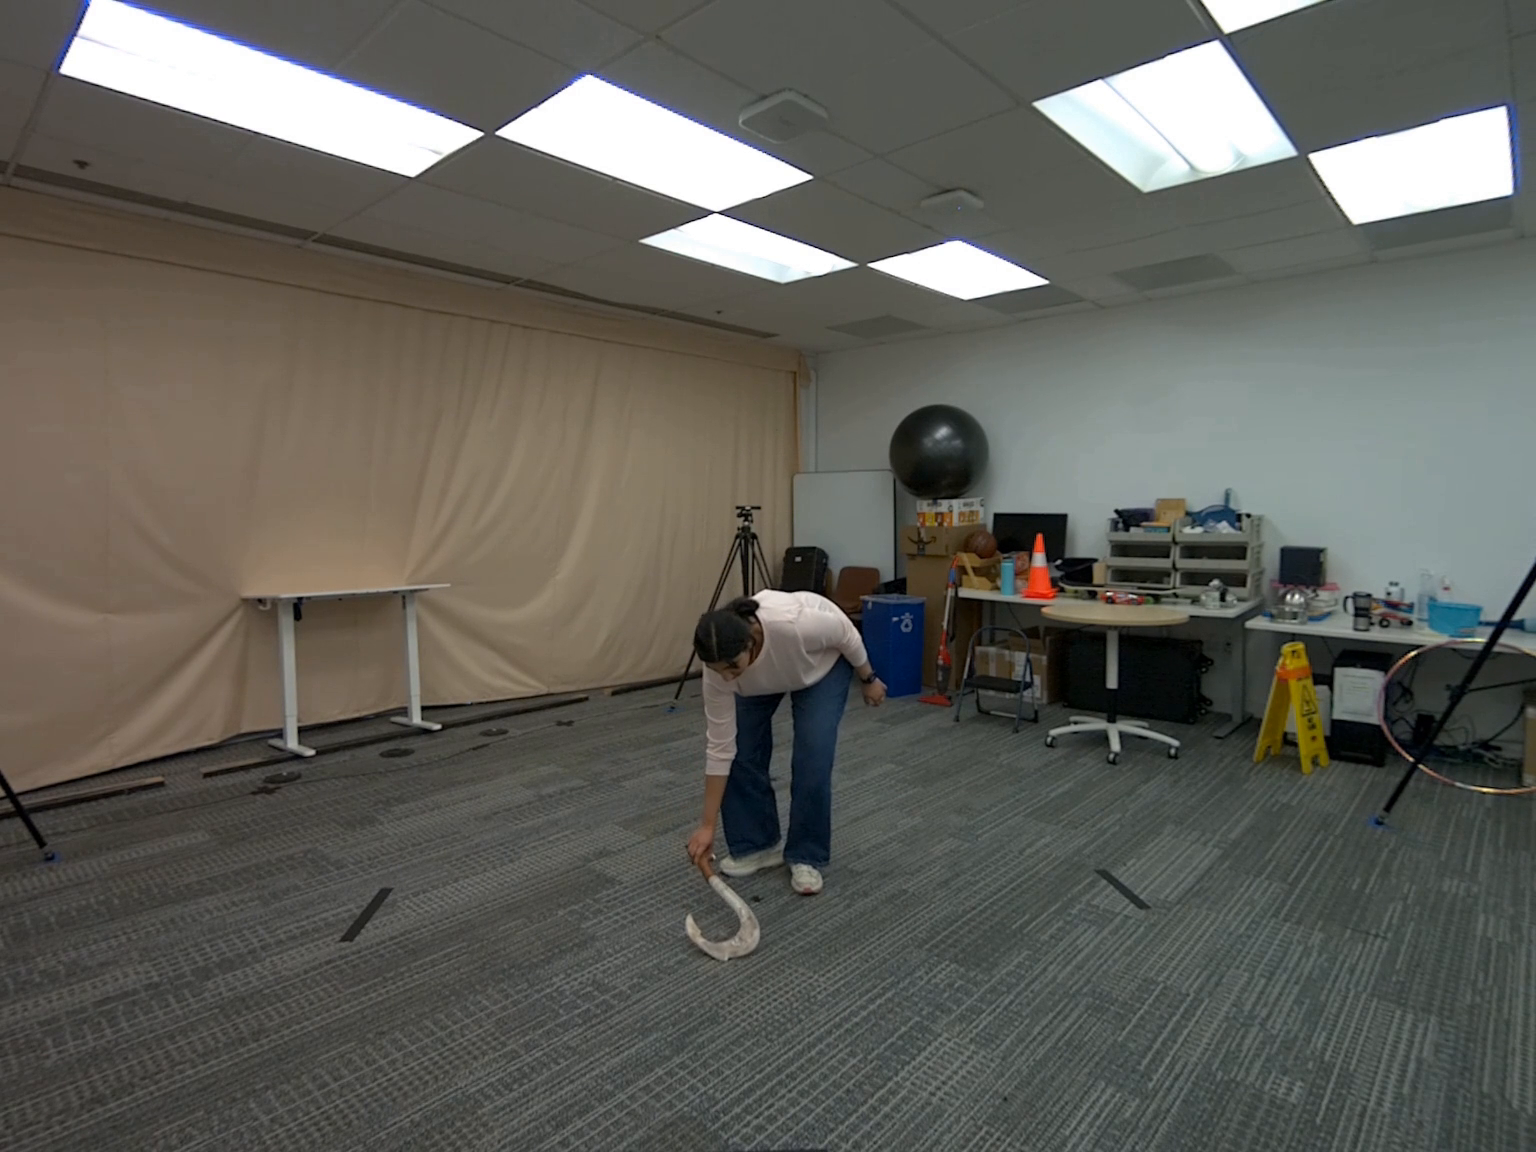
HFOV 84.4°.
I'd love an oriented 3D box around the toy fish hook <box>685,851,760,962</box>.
[{"bbox_3d":[-0.203,1.050,2.796,0.219,0.048,0.524,-5,25,-26],"label":"toy fish hook"}]
